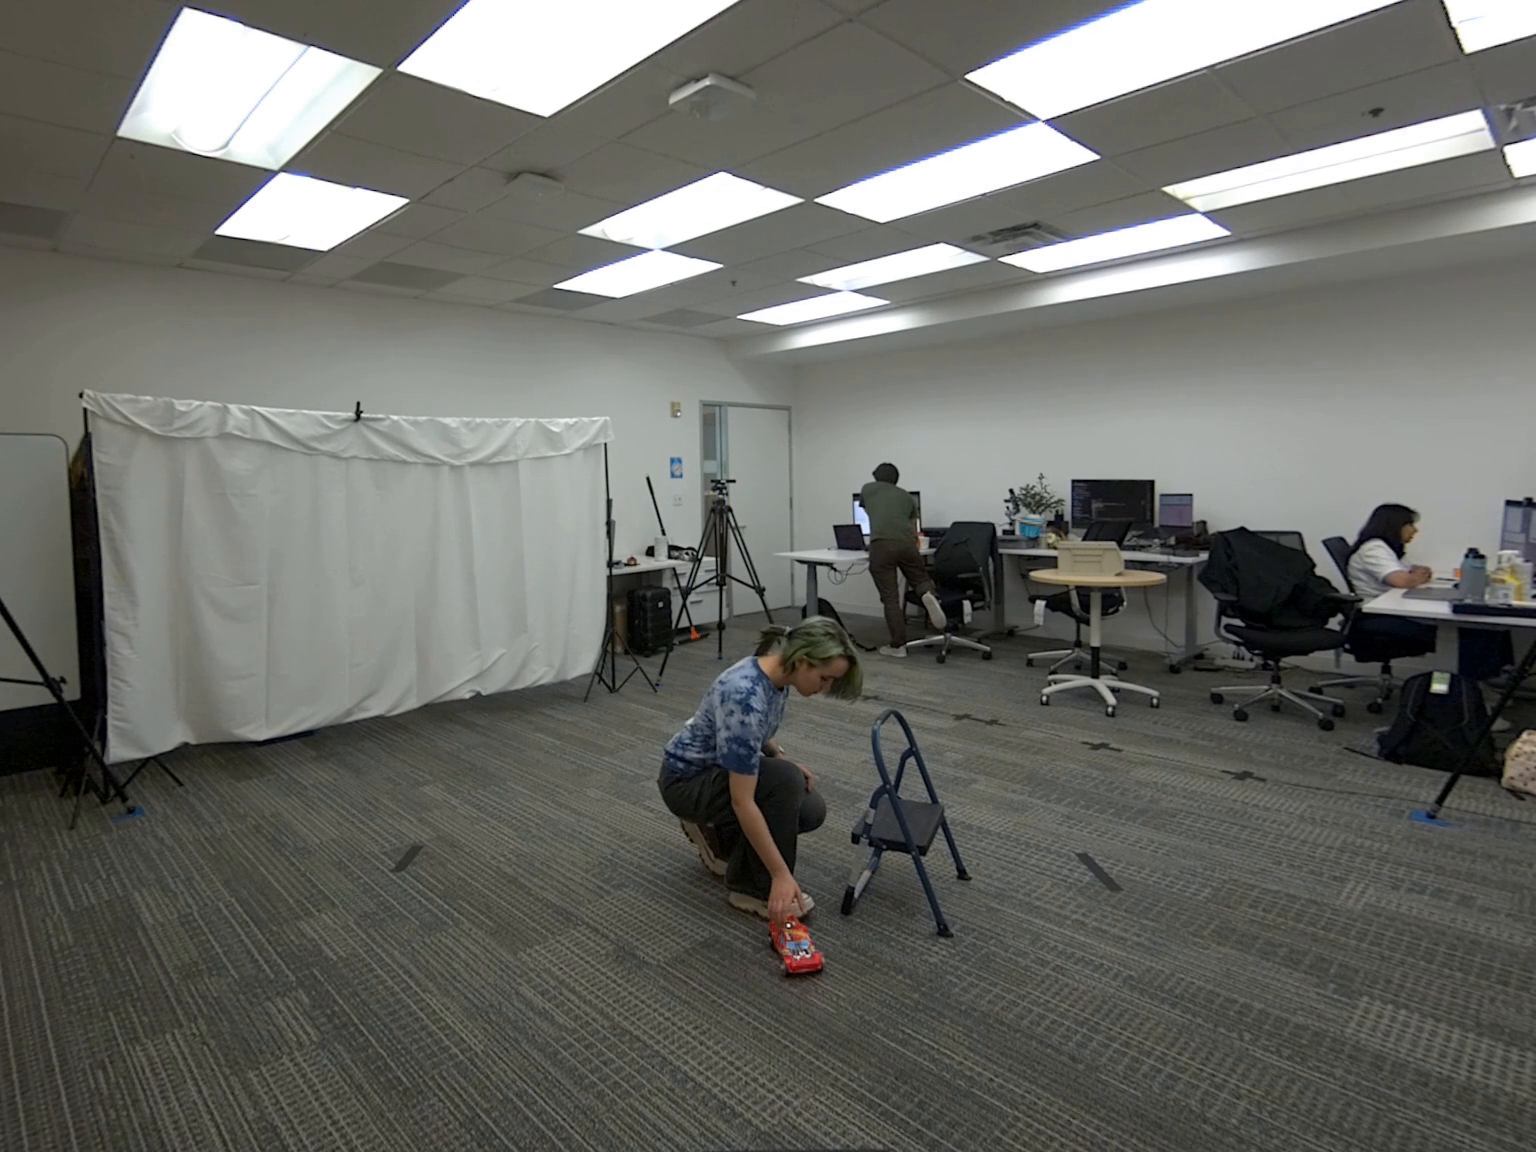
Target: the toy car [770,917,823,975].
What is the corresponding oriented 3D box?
[{"bbox_3d":[0.074,1.087,2.503,0.129,0.082,0.261,-4,16,-13],"label":"toy car"}]
